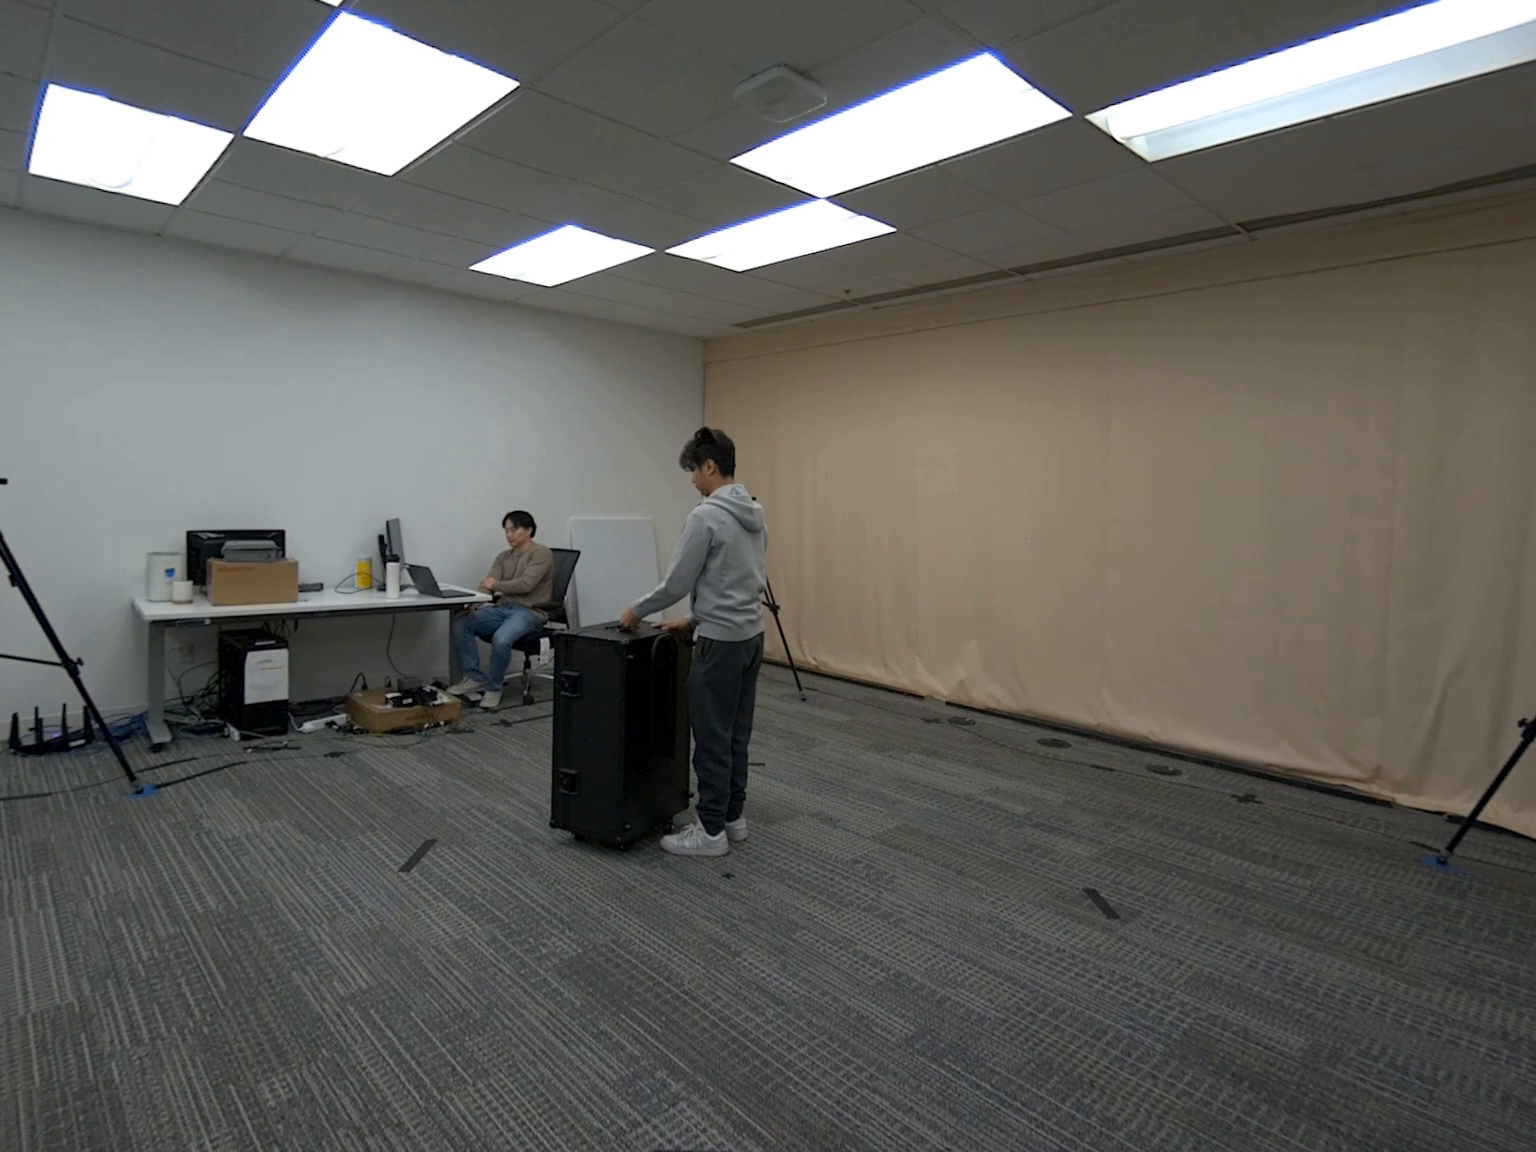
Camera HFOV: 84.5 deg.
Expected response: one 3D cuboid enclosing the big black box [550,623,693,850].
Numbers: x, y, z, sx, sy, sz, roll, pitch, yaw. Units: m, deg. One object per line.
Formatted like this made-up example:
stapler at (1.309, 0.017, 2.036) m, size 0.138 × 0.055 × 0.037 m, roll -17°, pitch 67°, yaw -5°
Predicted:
big black box at (-0.584, 0.637, 3.445) m, size 0.404 × 0.859 × 0.511 m, roll 4°, pitch 4°, yaw 27°
